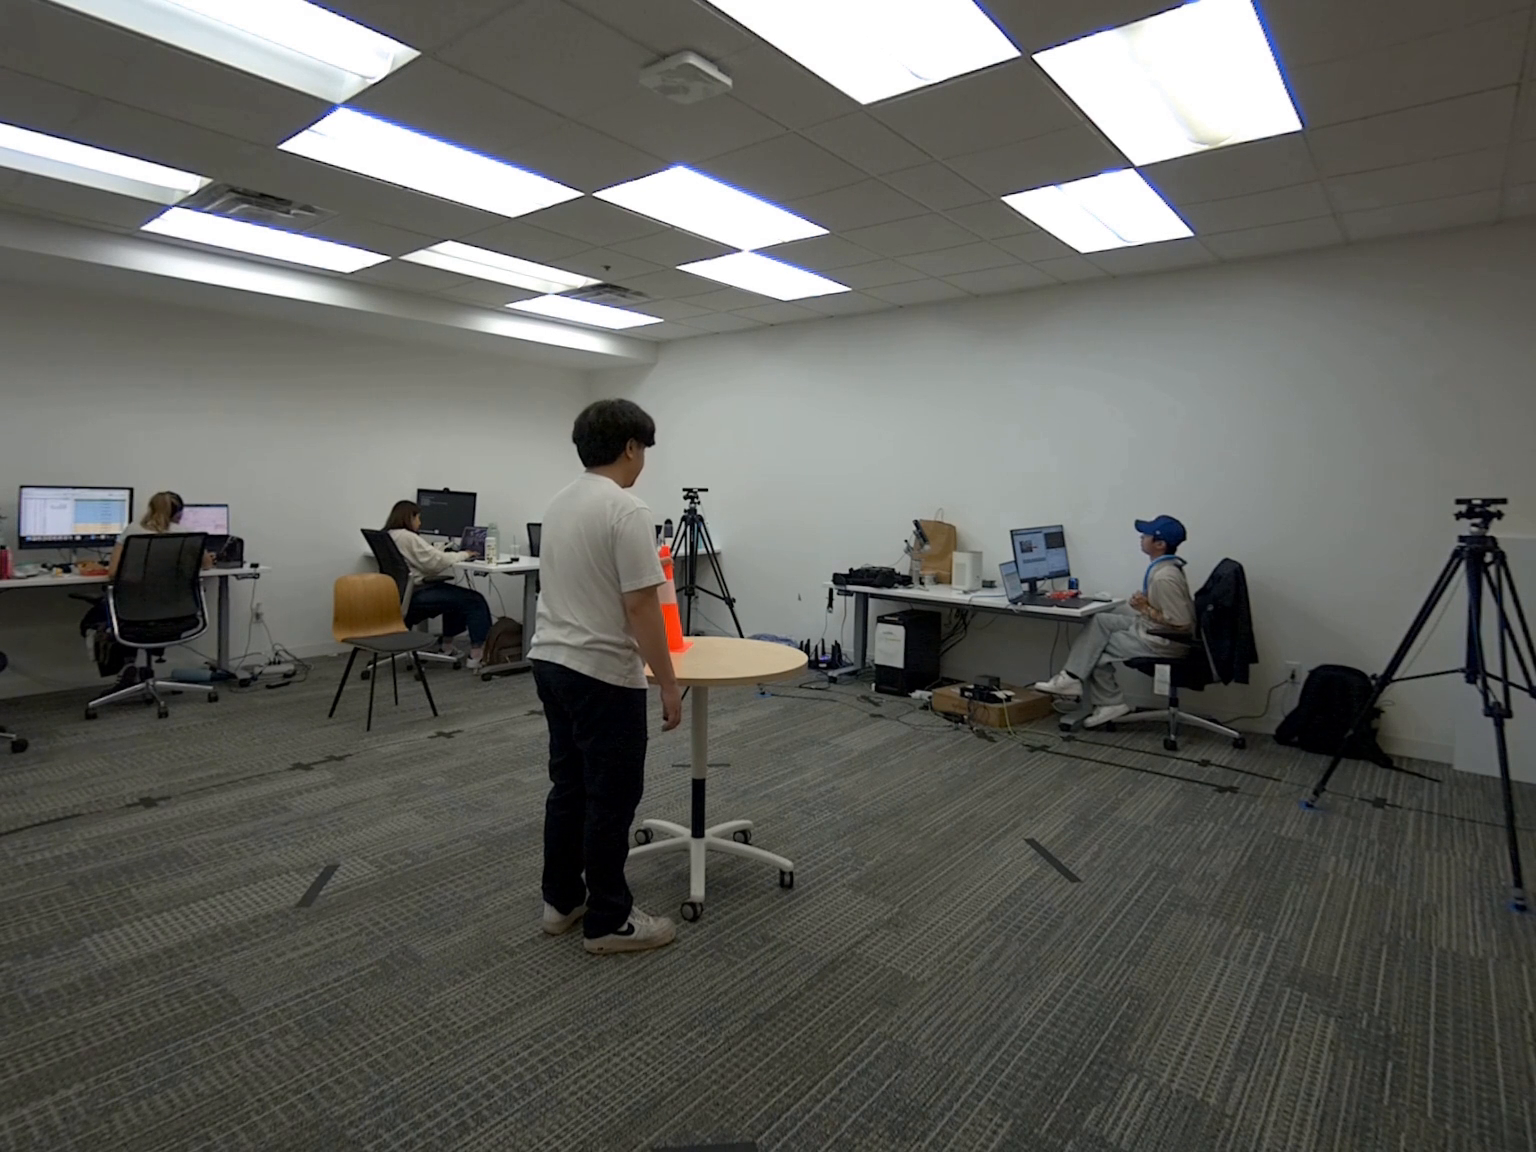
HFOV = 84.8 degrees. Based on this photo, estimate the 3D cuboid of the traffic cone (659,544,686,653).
[{"bbox_3d":[-0.397,0.077,3.177,0.207,0.382,0.202,2,4,6],"label":"traffic cone"}]
